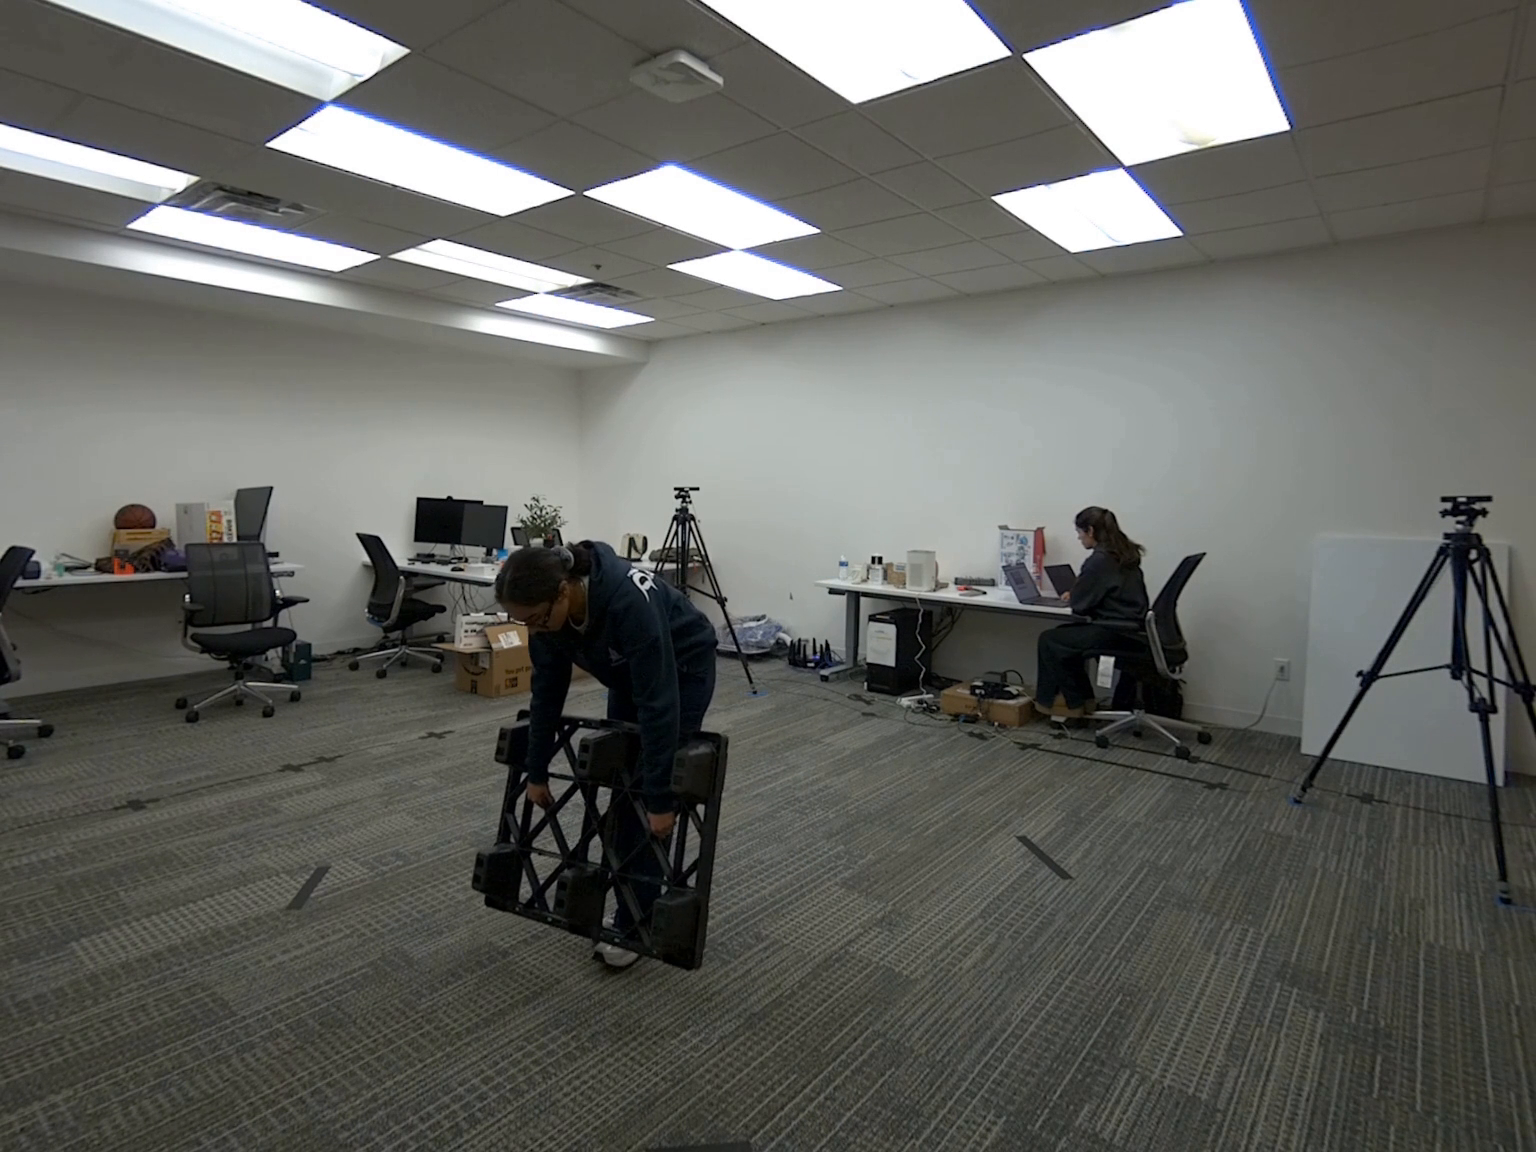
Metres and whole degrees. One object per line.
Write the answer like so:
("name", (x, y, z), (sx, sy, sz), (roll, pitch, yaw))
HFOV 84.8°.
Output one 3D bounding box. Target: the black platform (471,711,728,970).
("black platform", (-0.521, 0.714, 2.429), (0.828, 0.612, 0.138), (-1, -15, 32))
